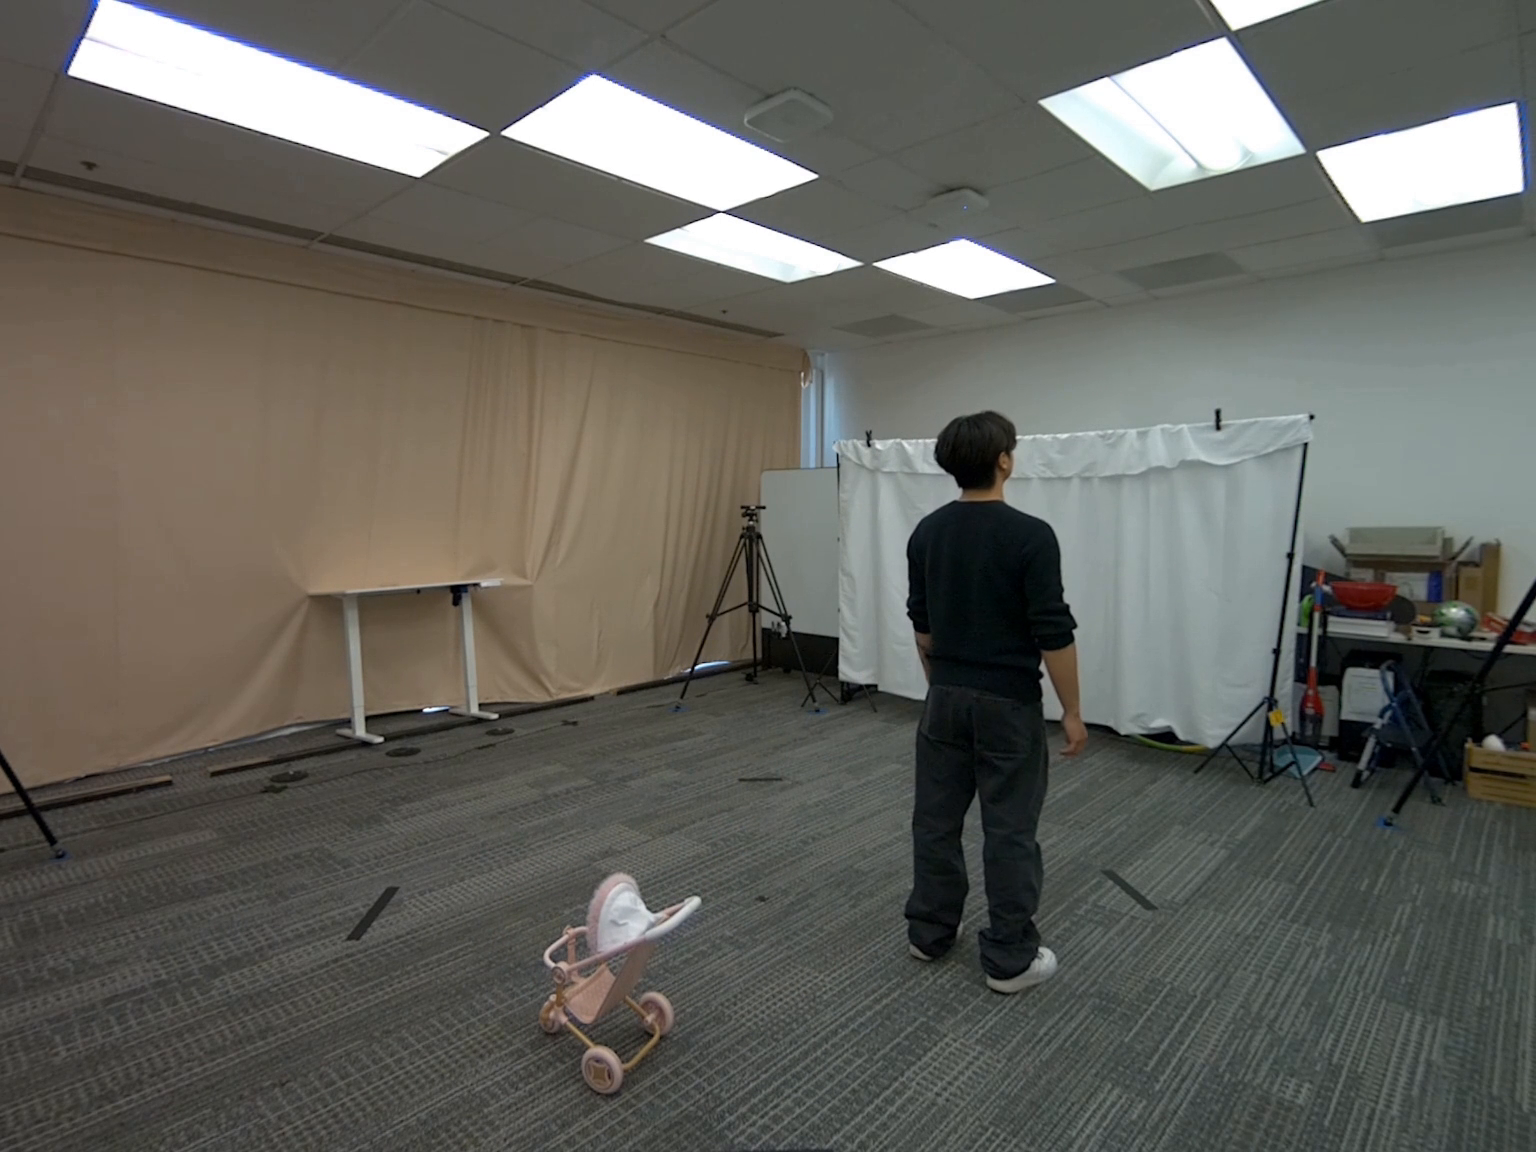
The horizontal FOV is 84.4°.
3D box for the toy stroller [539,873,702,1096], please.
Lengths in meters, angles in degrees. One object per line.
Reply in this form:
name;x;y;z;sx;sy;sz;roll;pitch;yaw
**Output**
toy stroller;-0.400;1.000;2.134;0.352;0.533;0.274;20;13;27
